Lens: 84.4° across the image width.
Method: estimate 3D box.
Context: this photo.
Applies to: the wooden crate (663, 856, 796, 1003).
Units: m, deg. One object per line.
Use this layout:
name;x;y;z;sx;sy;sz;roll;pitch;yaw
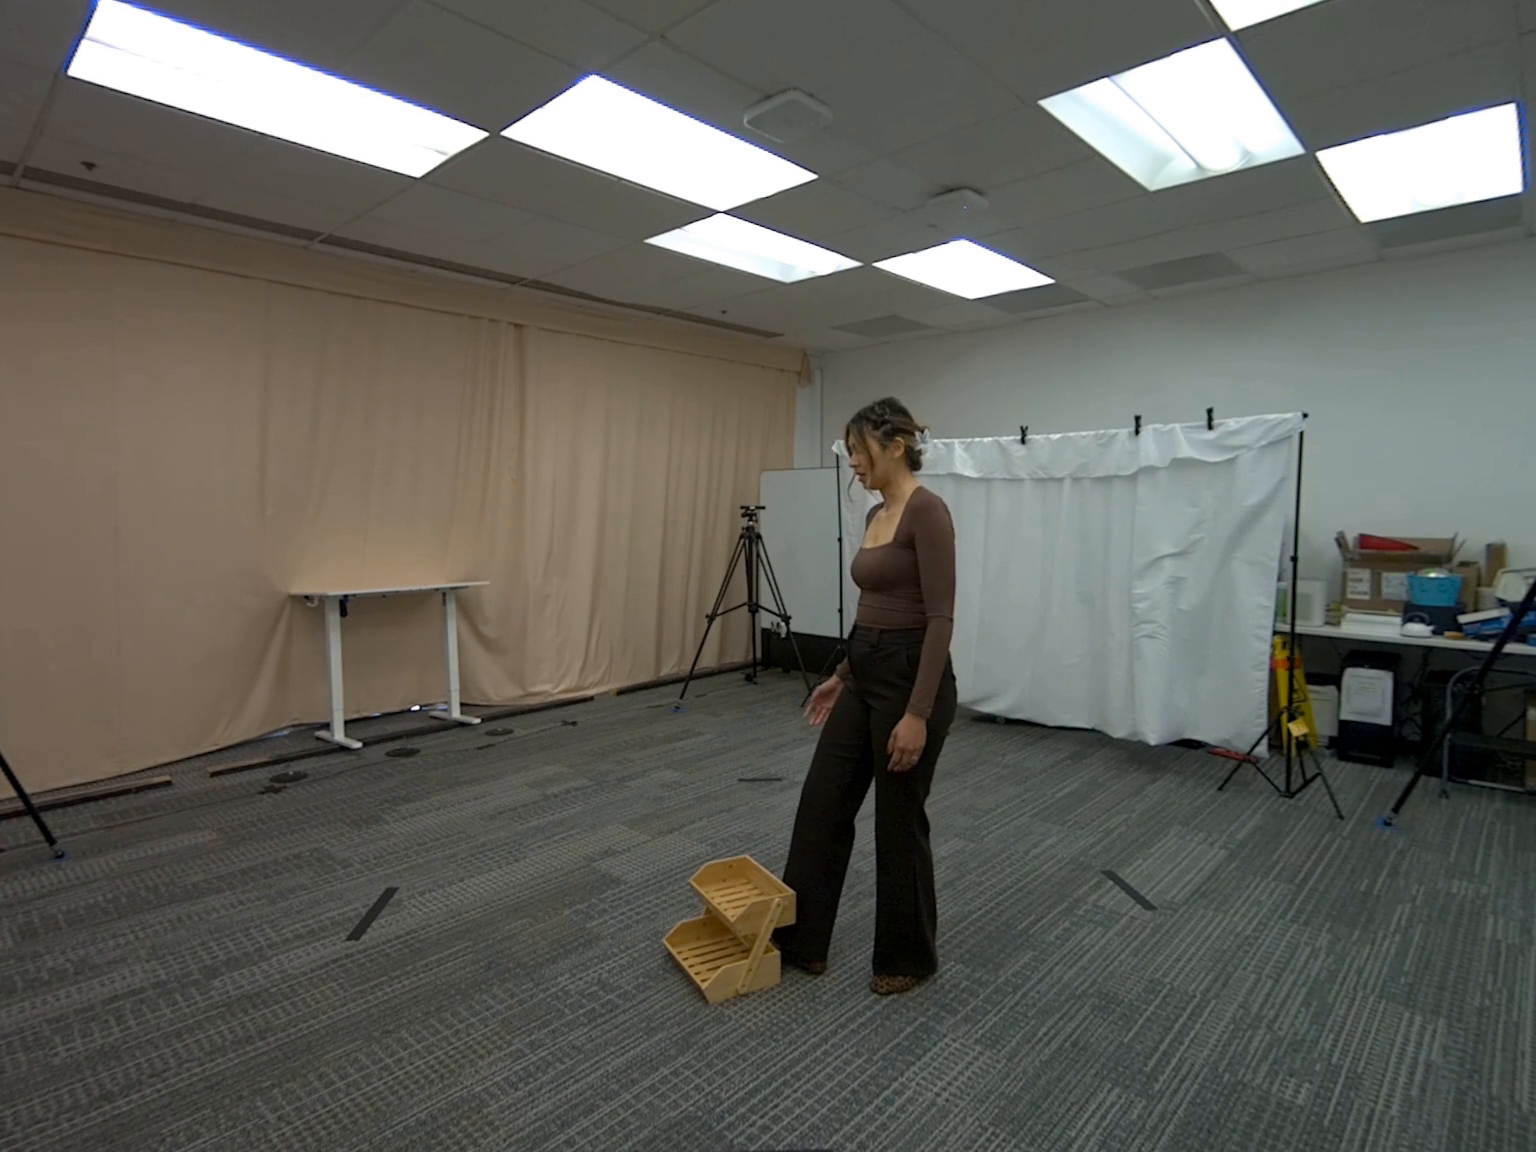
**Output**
wooden crate;-0.119;1.051;2.540;0.294;0.273;0.333;-1;4;-28
